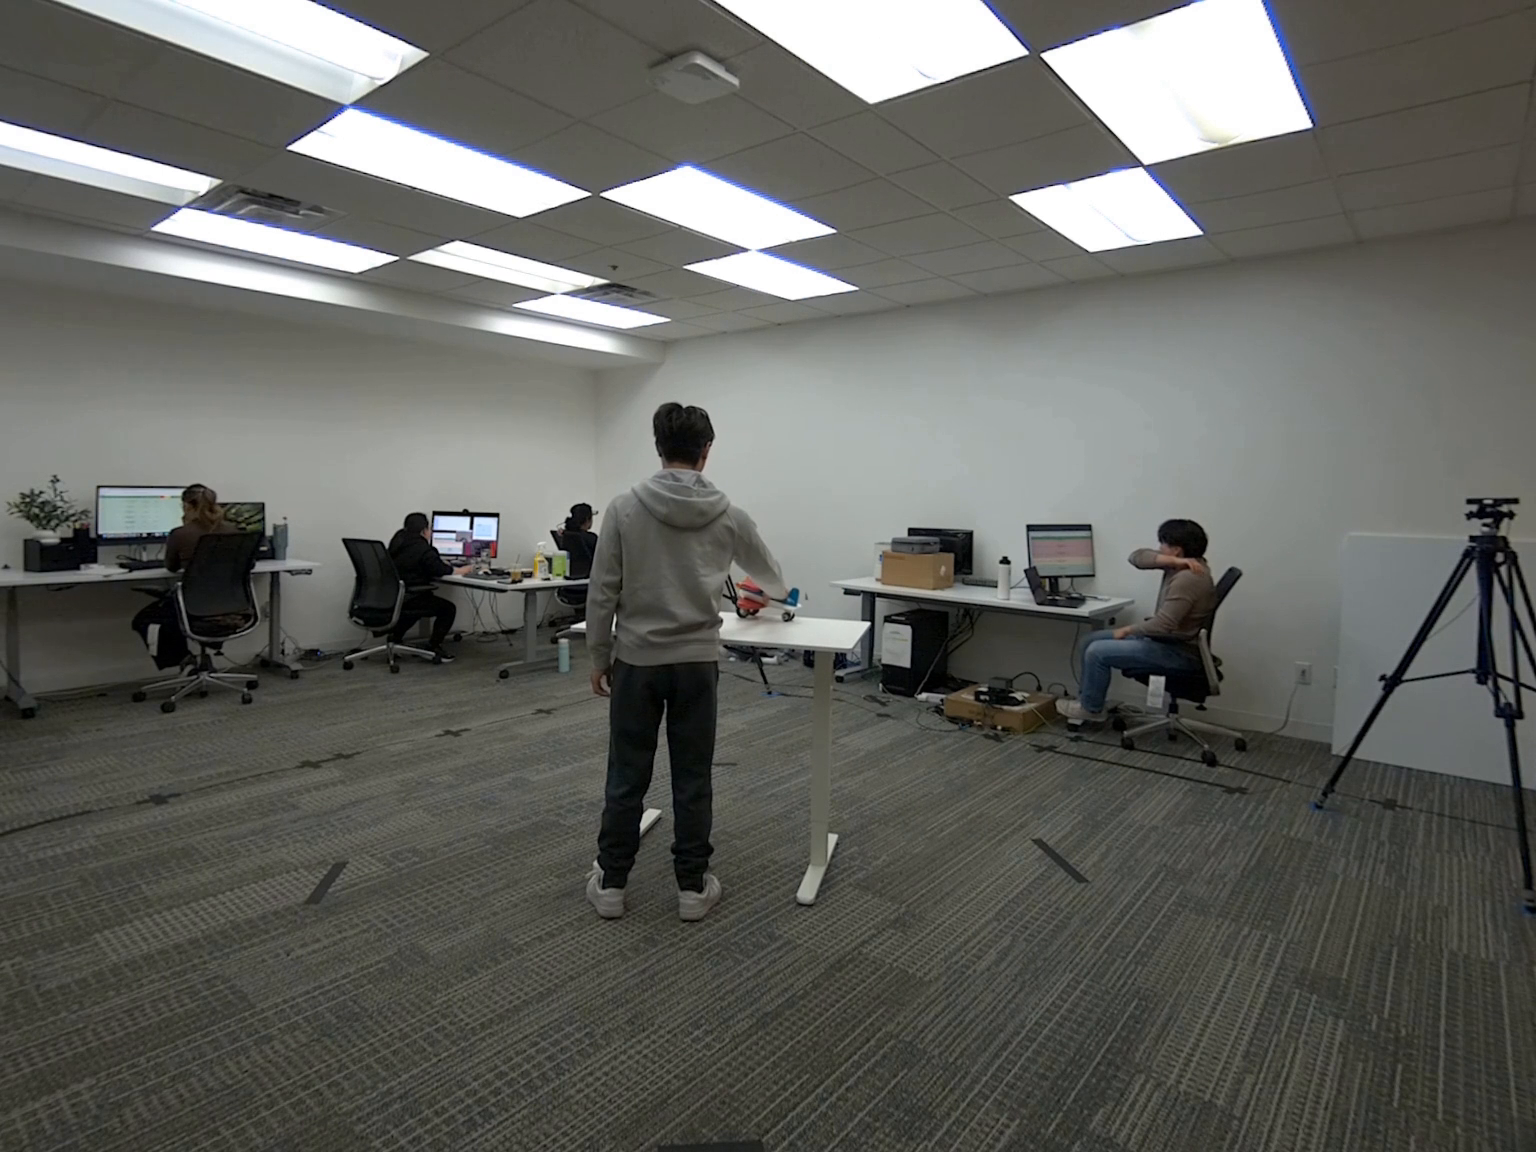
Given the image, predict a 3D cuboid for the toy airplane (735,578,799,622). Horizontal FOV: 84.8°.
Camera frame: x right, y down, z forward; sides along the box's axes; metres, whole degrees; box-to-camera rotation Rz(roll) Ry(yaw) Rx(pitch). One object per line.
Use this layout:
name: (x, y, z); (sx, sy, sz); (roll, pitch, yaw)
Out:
toy airplane: (-0.009, 0.086, 3.373); (0.259, 0.156, 0.252); (0, 6, -2)
